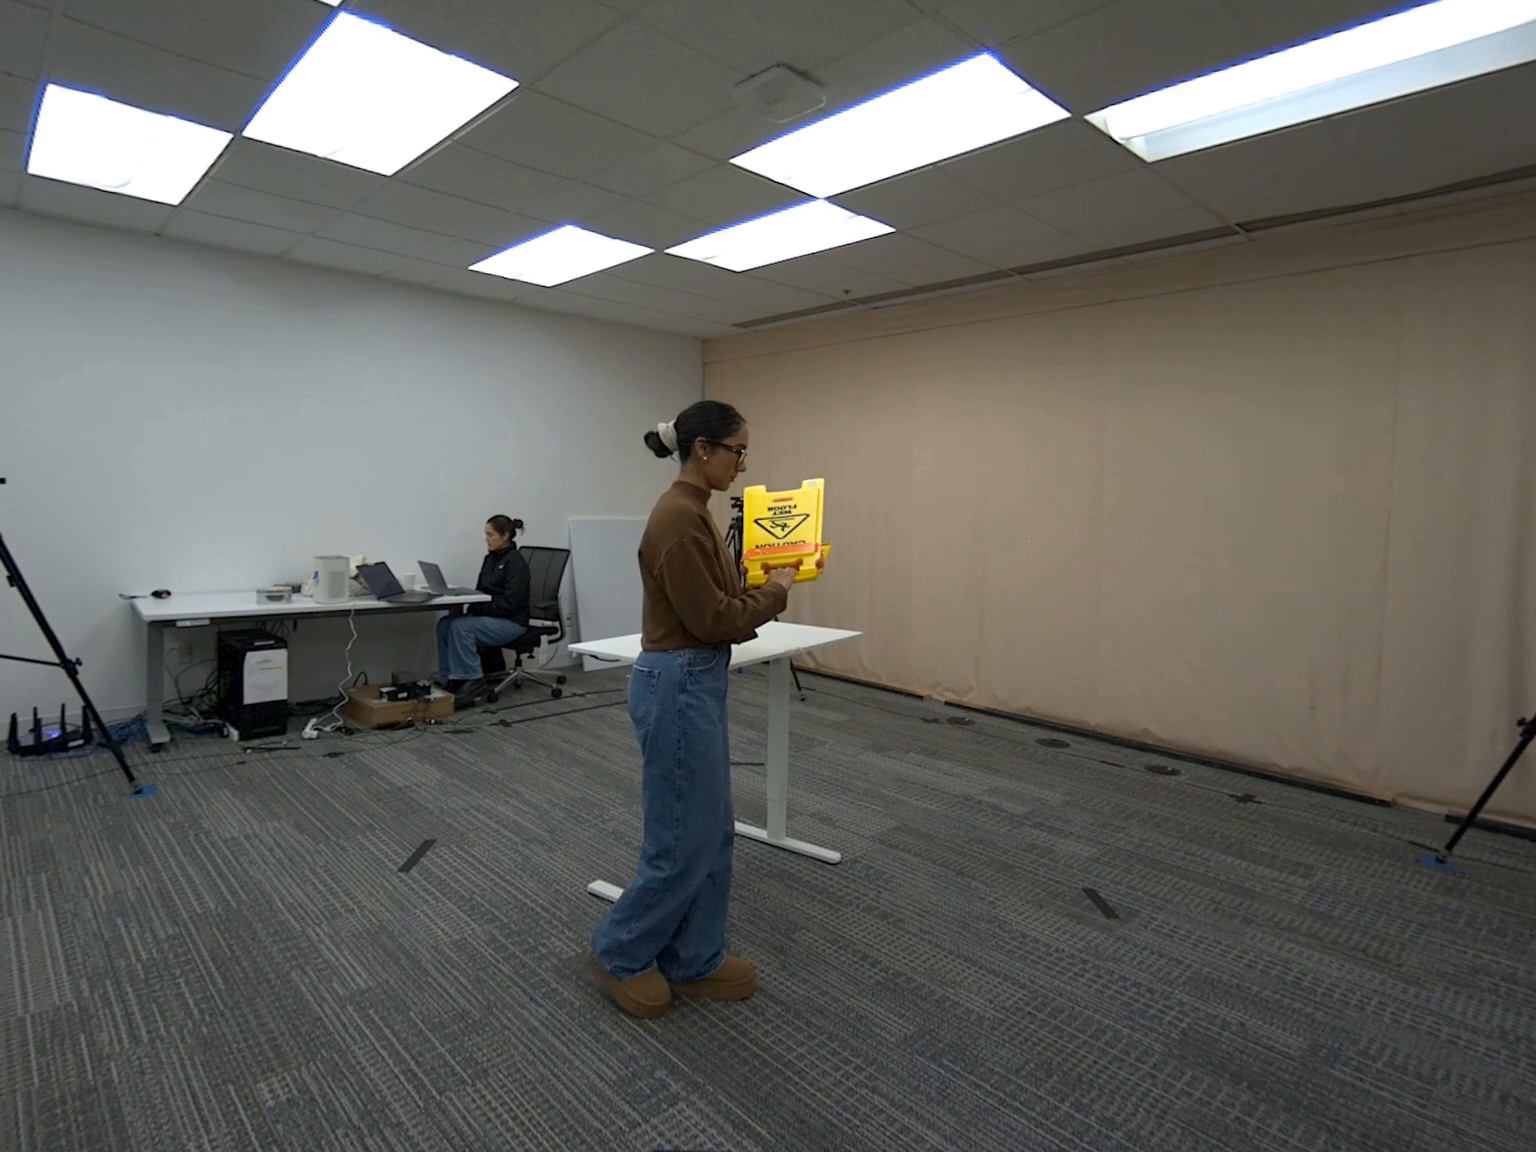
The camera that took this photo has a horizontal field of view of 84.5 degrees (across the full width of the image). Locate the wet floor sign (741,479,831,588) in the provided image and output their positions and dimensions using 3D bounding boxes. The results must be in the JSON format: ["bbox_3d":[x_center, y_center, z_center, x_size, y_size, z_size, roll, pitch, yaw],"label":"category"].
[{"bbox_3d":[0.062,-0.090,2.626,0.283,0.286,0.652,-8,17,5],"label":"wet floor sign"}]
